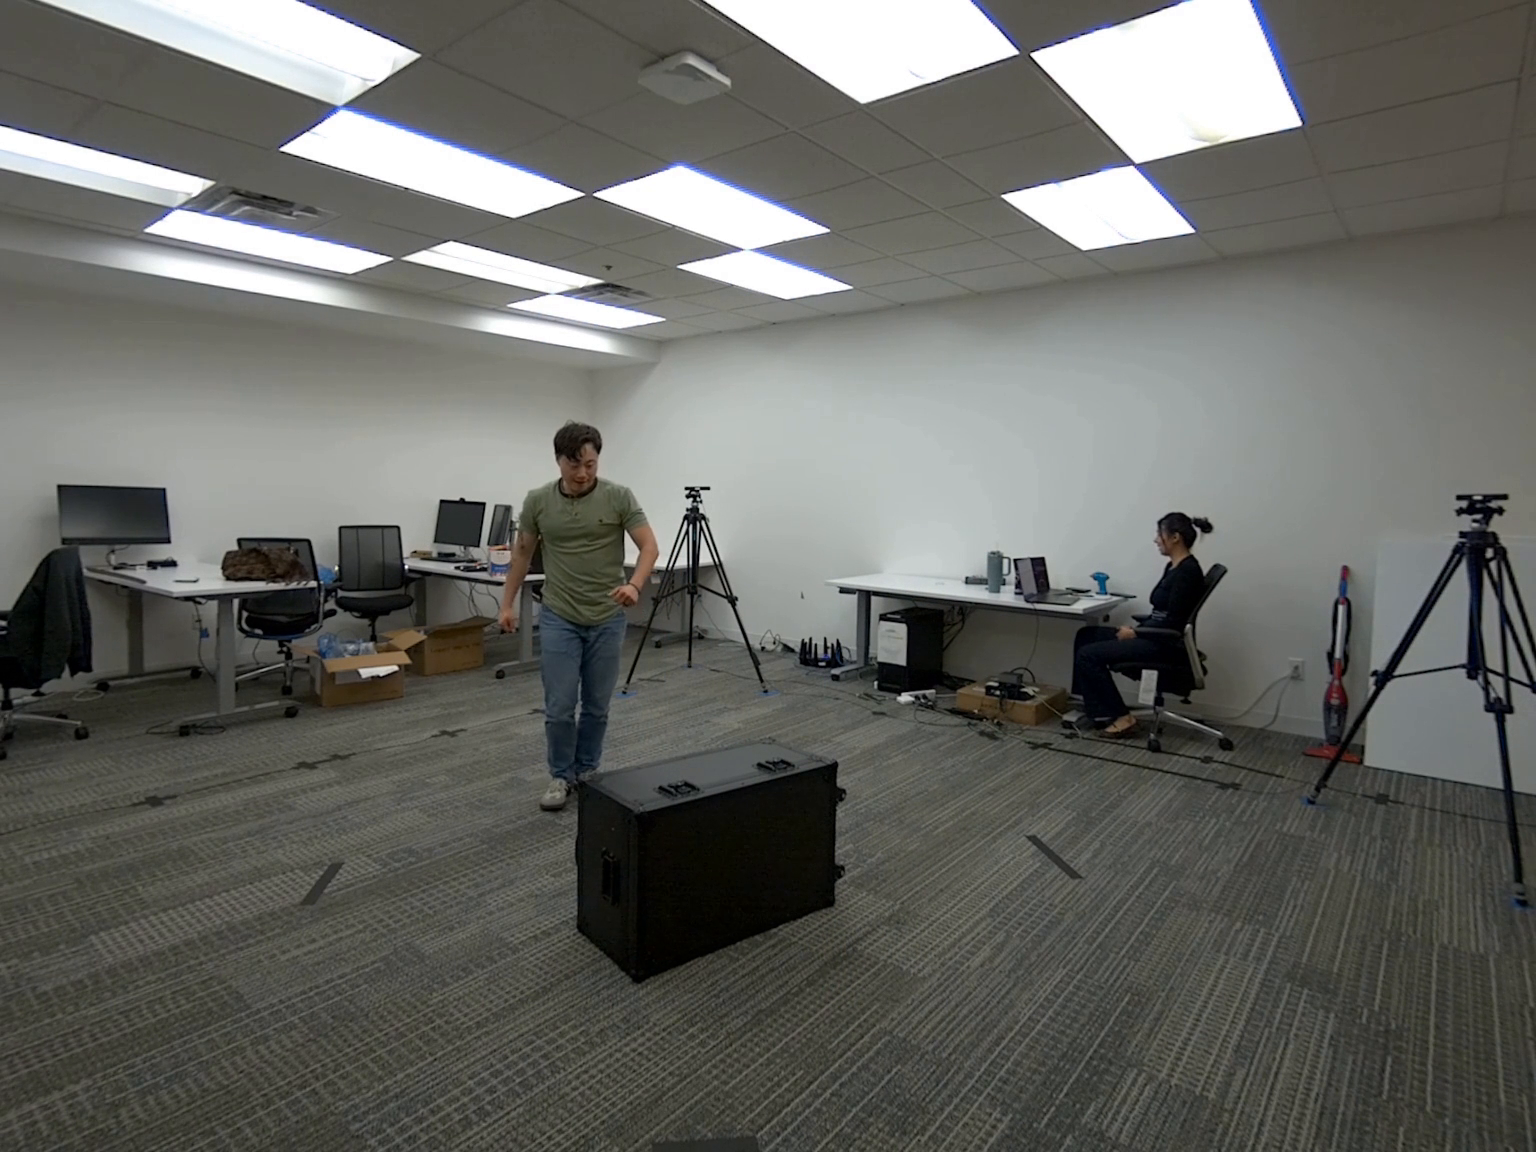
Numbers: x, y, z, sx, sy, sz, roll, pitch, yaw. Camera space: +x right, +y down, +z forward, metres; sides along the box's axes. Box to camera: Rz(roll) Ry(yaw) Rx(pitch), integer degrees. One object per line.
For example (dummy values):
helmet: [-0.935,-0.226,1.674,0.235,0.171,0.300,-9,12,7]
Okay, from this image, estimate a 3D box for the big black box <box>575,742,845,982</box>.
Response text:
big black box: [-0.173,0.858,2.766,0.836,0.520,0.409,-3,5,-38]
